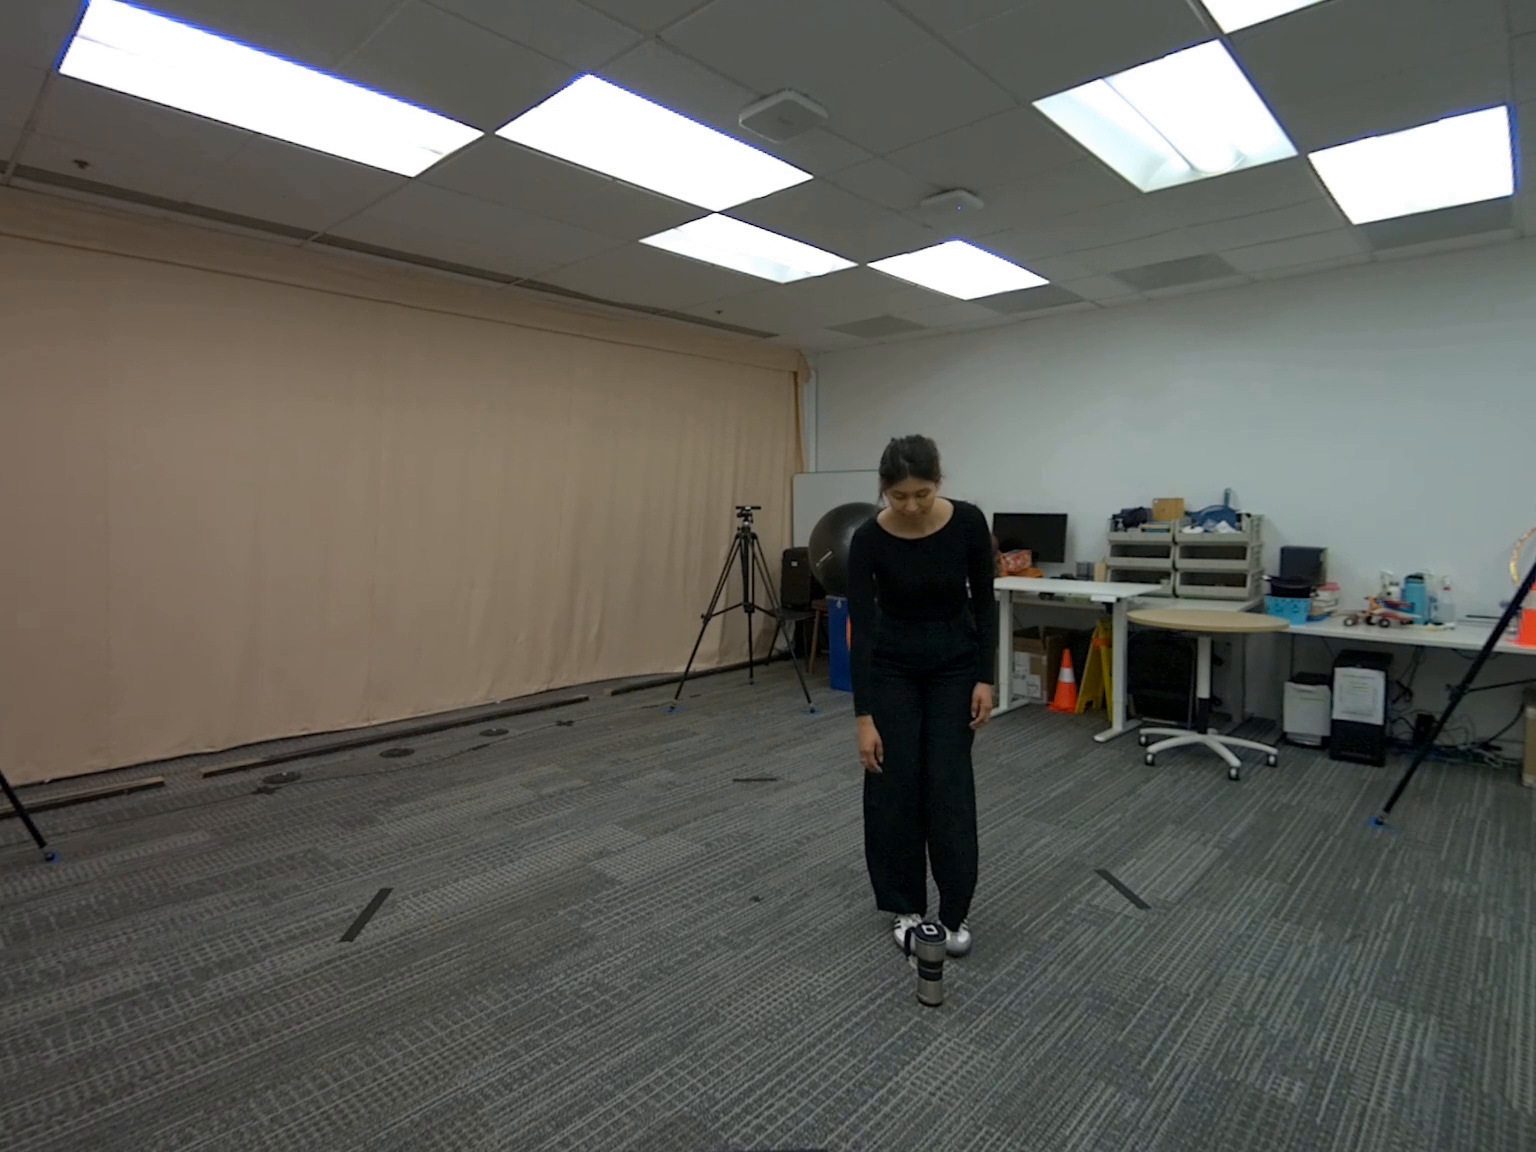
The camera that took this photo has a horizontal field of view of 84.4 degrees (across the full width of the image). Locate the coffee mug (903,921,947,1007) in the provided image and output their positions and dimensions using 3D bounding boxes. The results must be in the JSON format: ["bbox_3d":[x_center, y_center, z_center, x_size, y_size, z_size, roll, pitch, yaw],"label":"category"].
[{"bbox_3d":[0.451,1.089,2.391,0.086,0.202,0.125,-4,8,-22],"label":"coffee mug"}]
